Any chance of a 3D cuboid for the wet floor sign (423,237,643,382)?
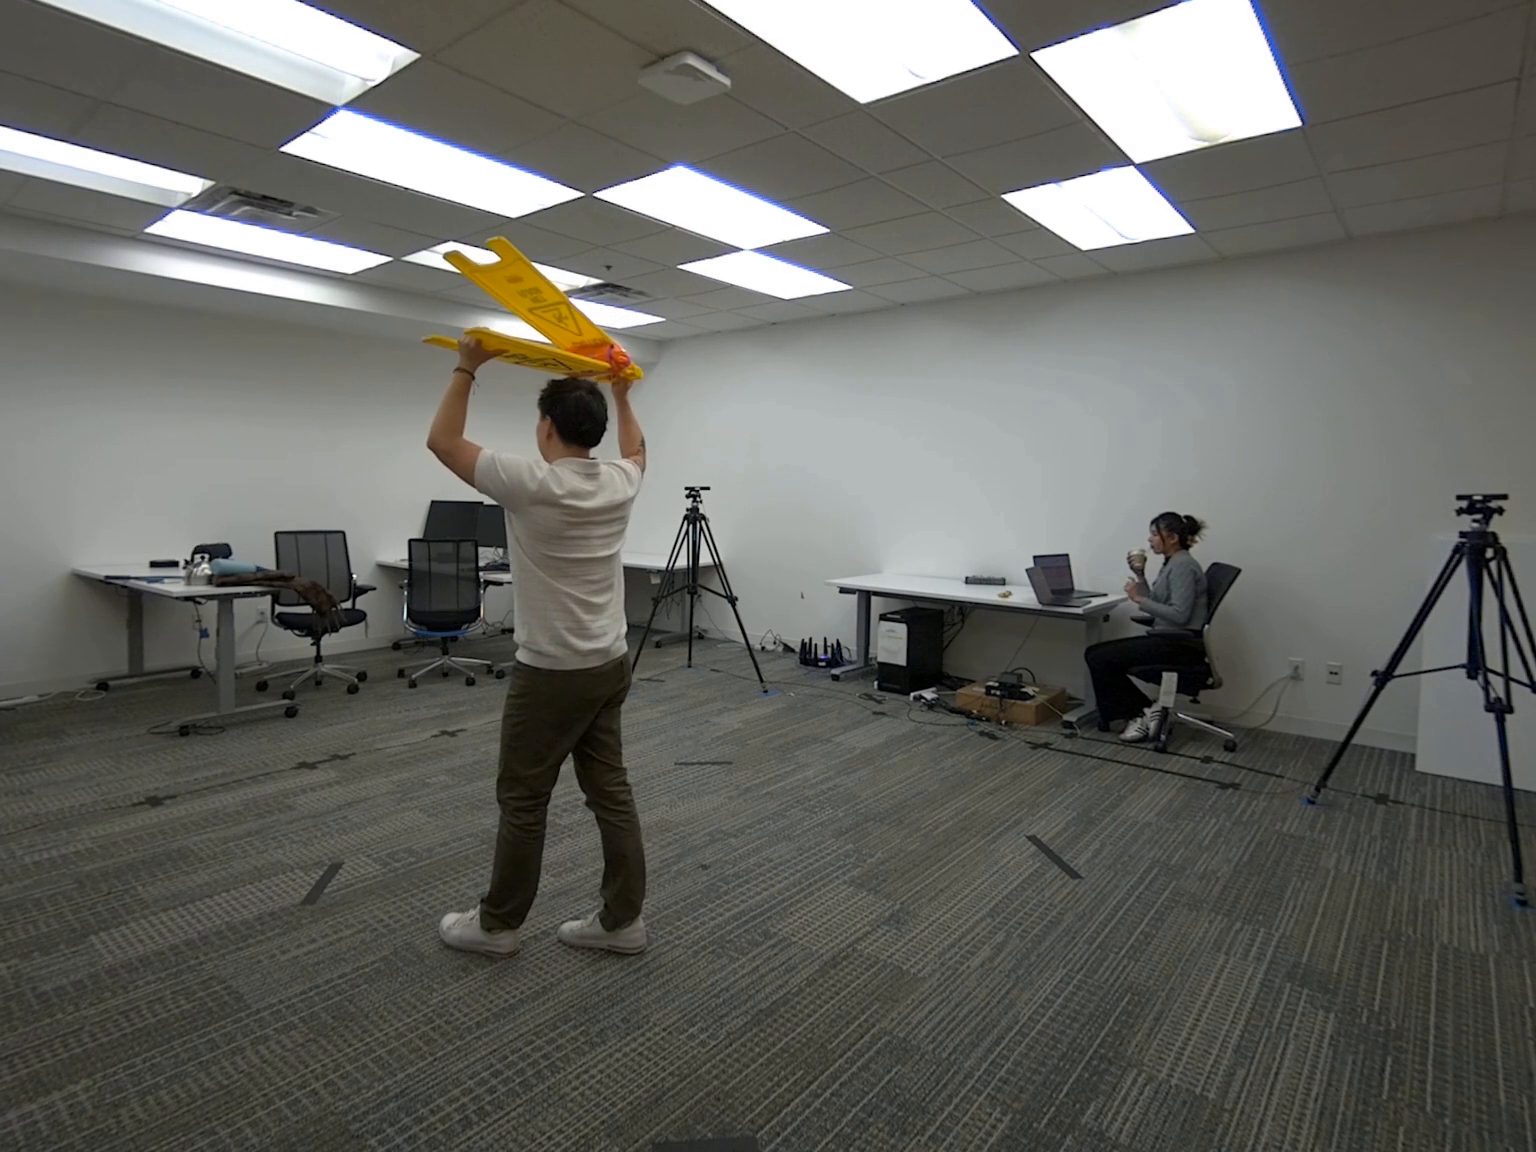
[{"bbox_3d":[-0.667,-0.713,2.551,0.291,0.291,0.621,4,-10,38],"label":"wet floor sign"}]
